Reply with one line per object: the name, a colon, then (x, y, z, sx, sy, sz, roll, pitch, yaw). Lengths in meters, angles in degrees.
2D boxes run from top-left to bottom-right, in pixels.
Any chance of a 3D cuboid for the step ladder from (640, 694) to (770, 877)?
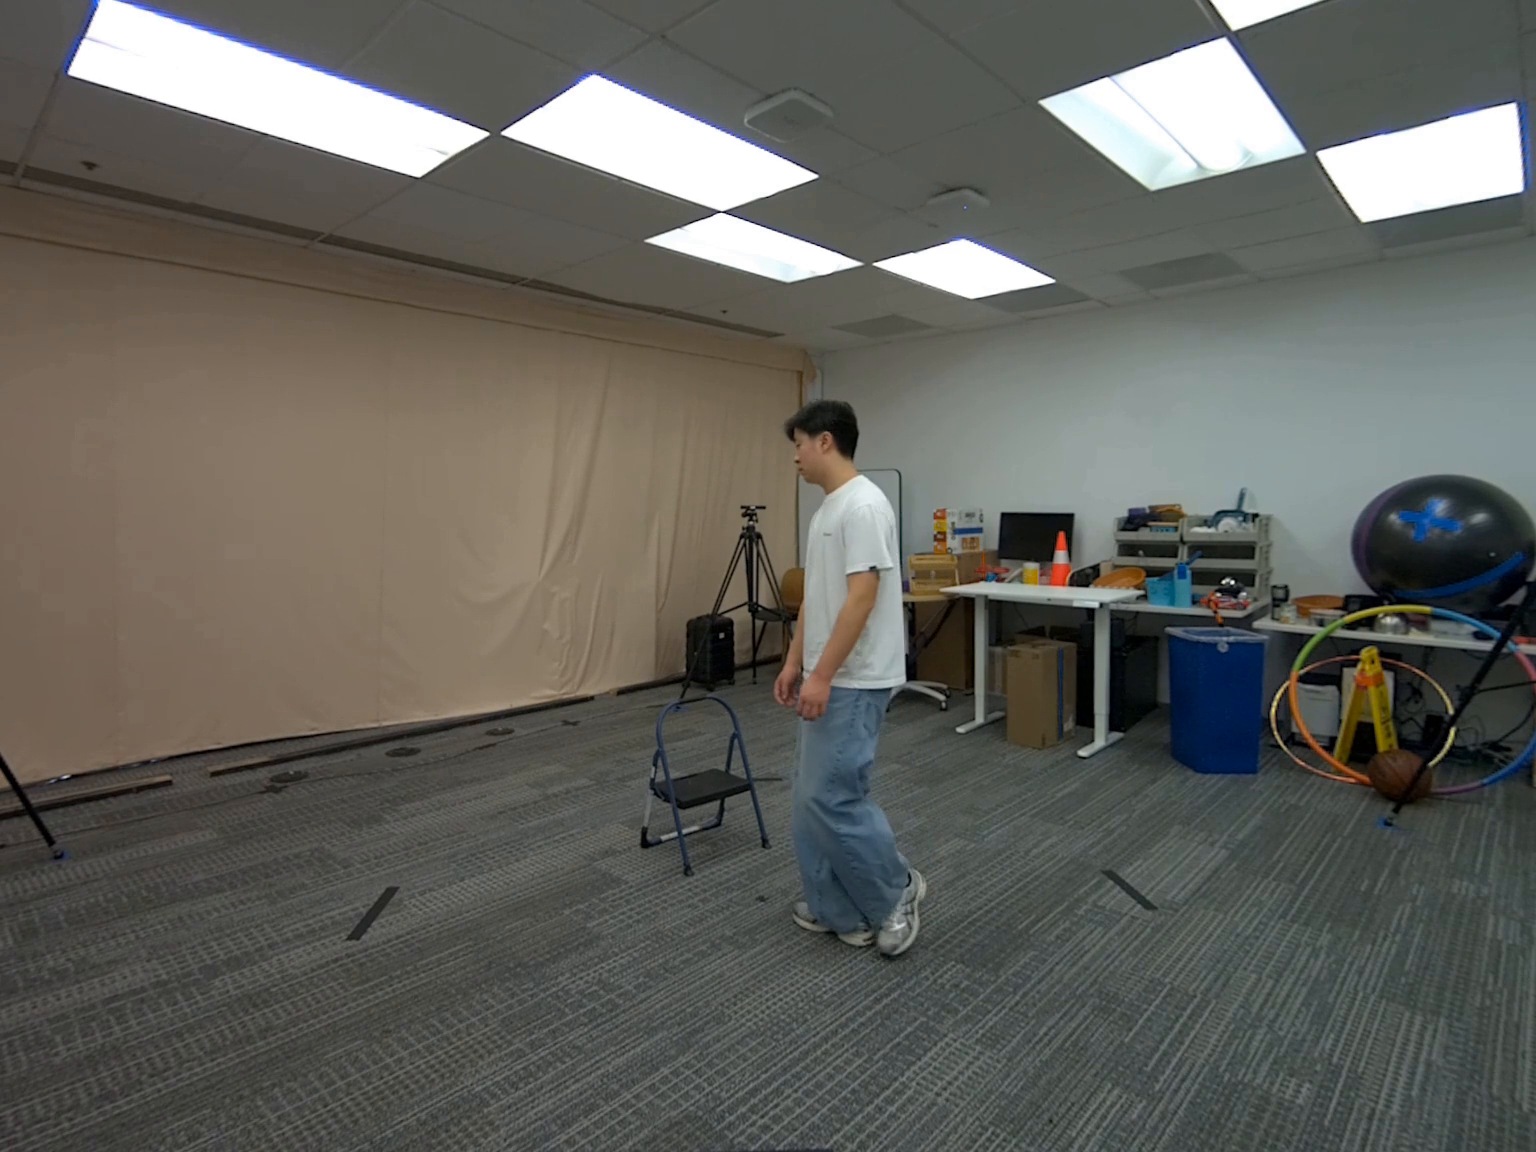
step ladder: (-0.257, 0.804, 3.420, 0.417, 0.605, 0.361, -3, 4, -40)
